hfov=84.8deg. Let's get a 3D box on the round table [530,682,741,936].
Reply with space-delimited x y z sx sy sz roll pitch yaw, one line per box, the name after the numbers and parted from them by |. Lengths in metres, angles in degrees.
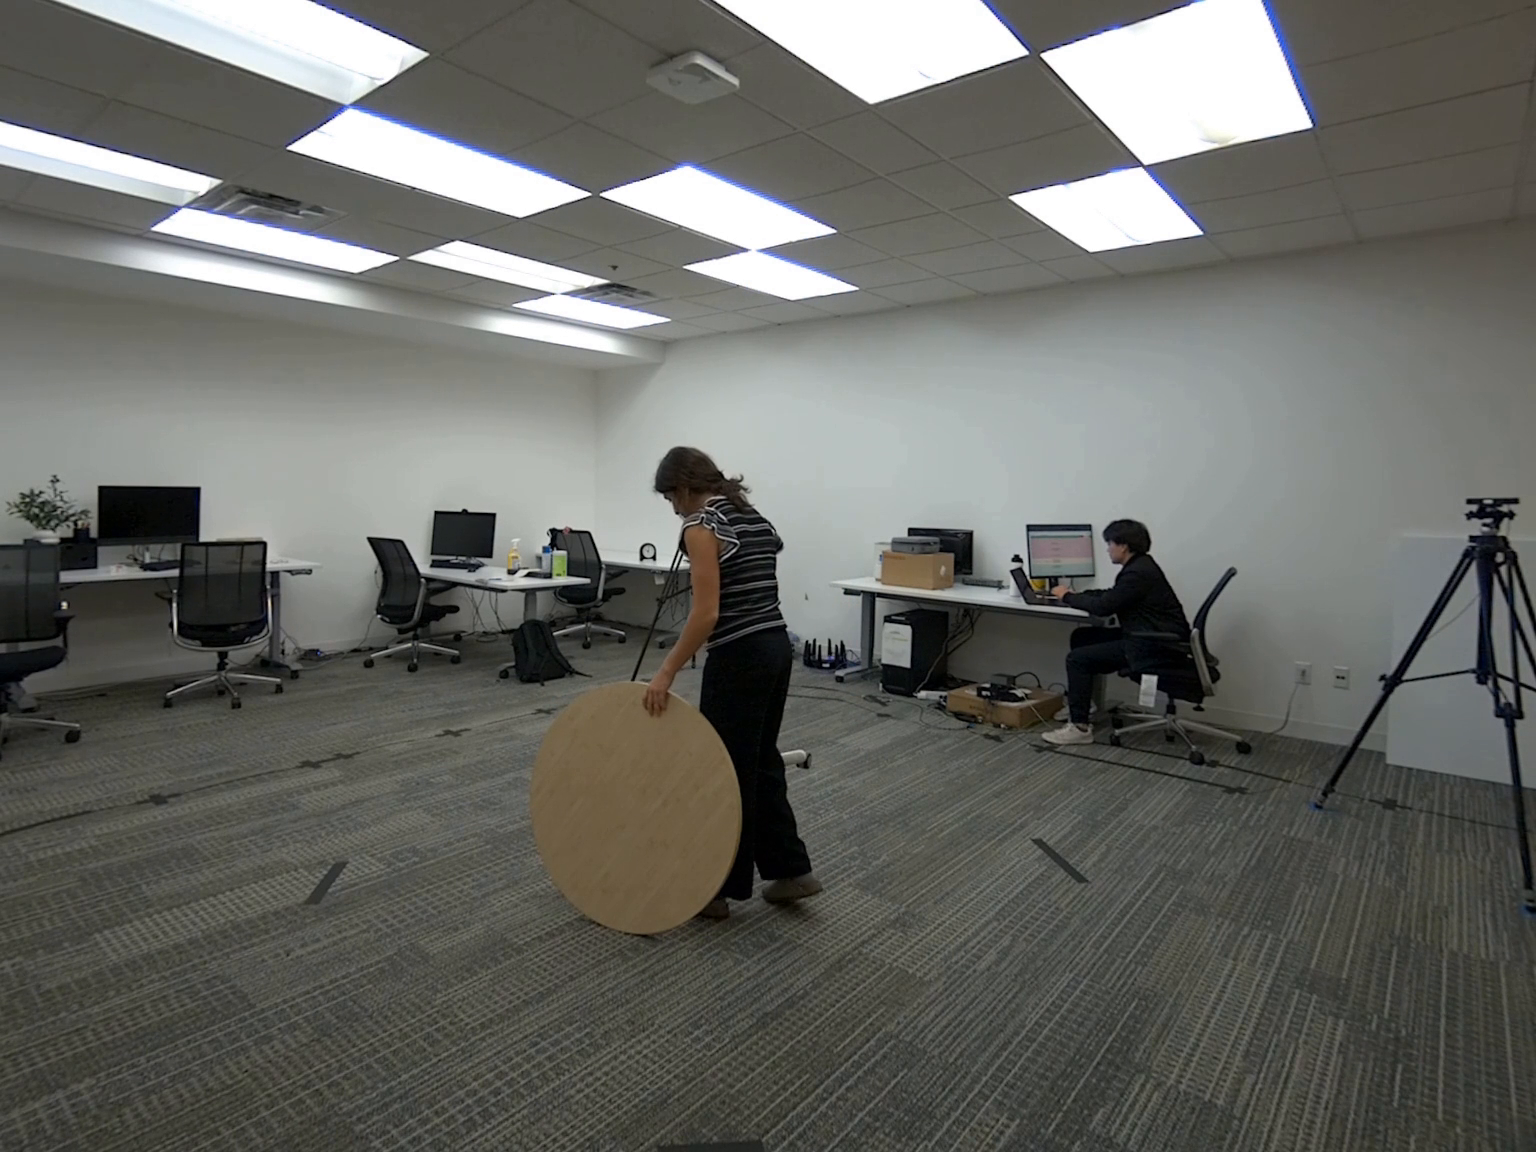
-0.307 0.743 3.040 0.784 0.766 0.772 3 -3 24 | round table
